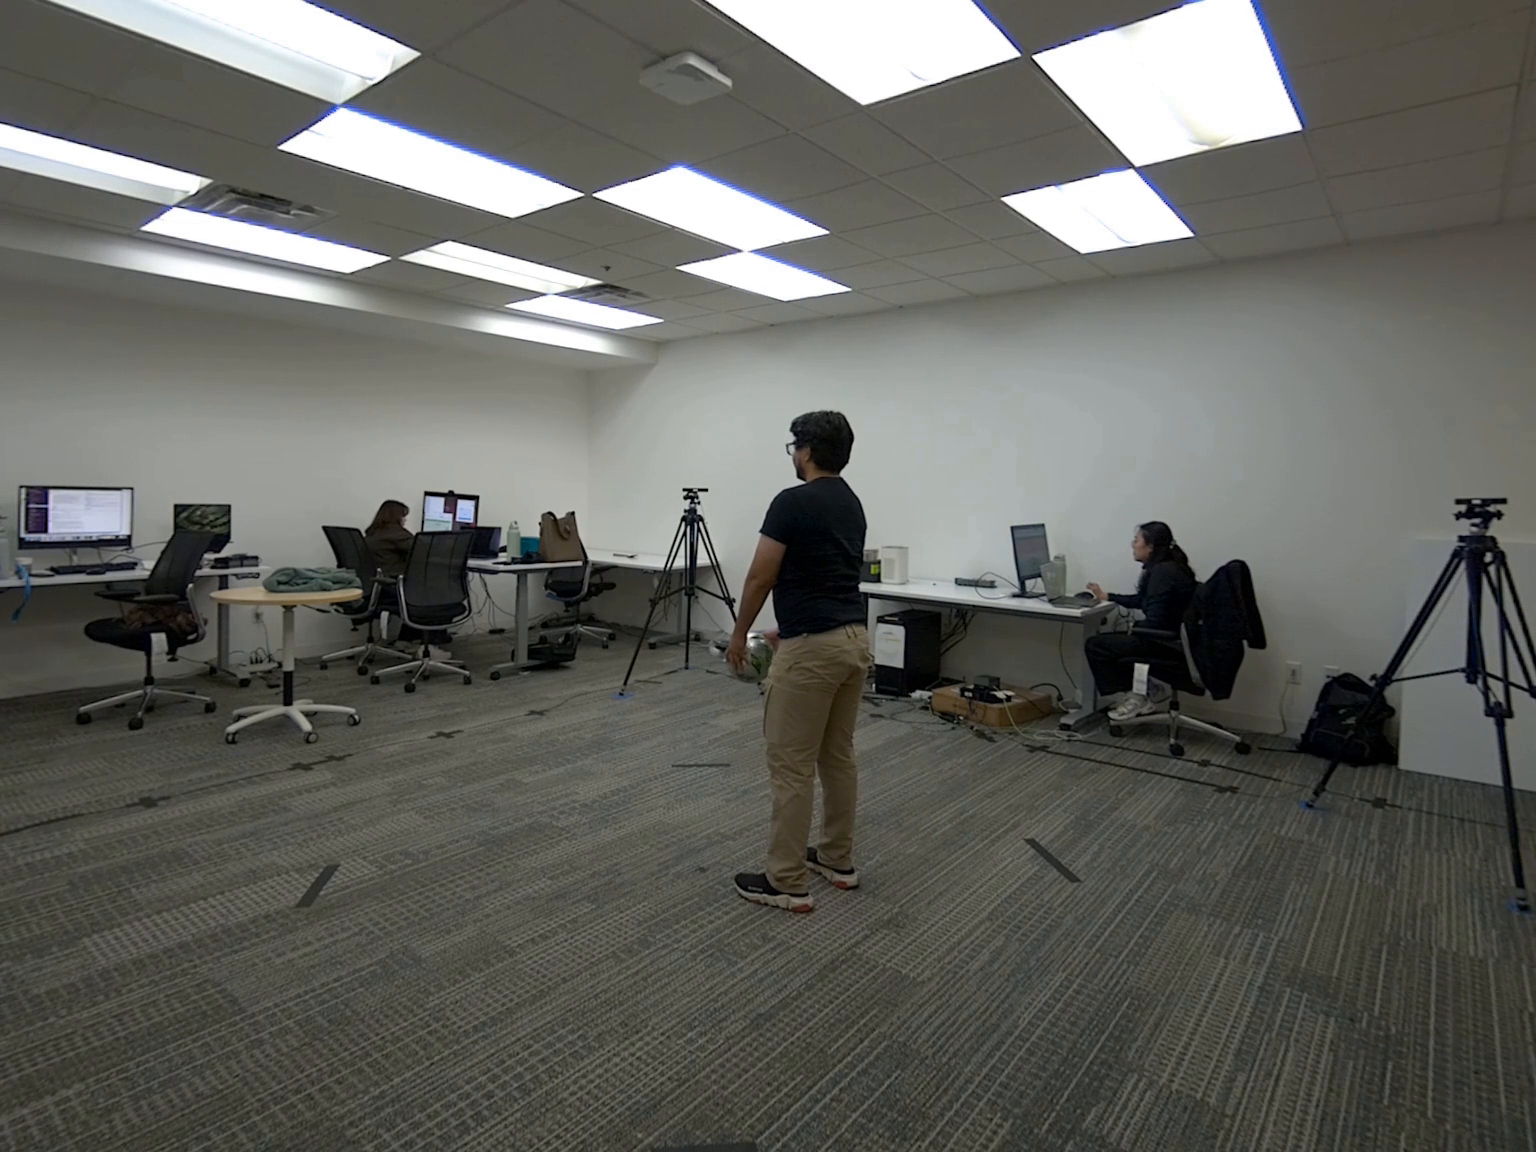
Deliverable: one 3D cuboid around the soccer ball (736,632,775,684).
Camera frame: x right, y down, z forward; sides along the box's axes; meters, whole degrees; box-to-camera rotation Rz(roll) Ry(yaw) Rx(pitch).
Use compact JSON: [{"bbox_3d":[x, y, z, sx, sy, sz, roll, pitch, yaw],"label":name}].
[{"bbox_3d":[-0.068,0.301,3.169,0.187,0.187,0.188,1,4,-2],"label":"soccer ball"}]
